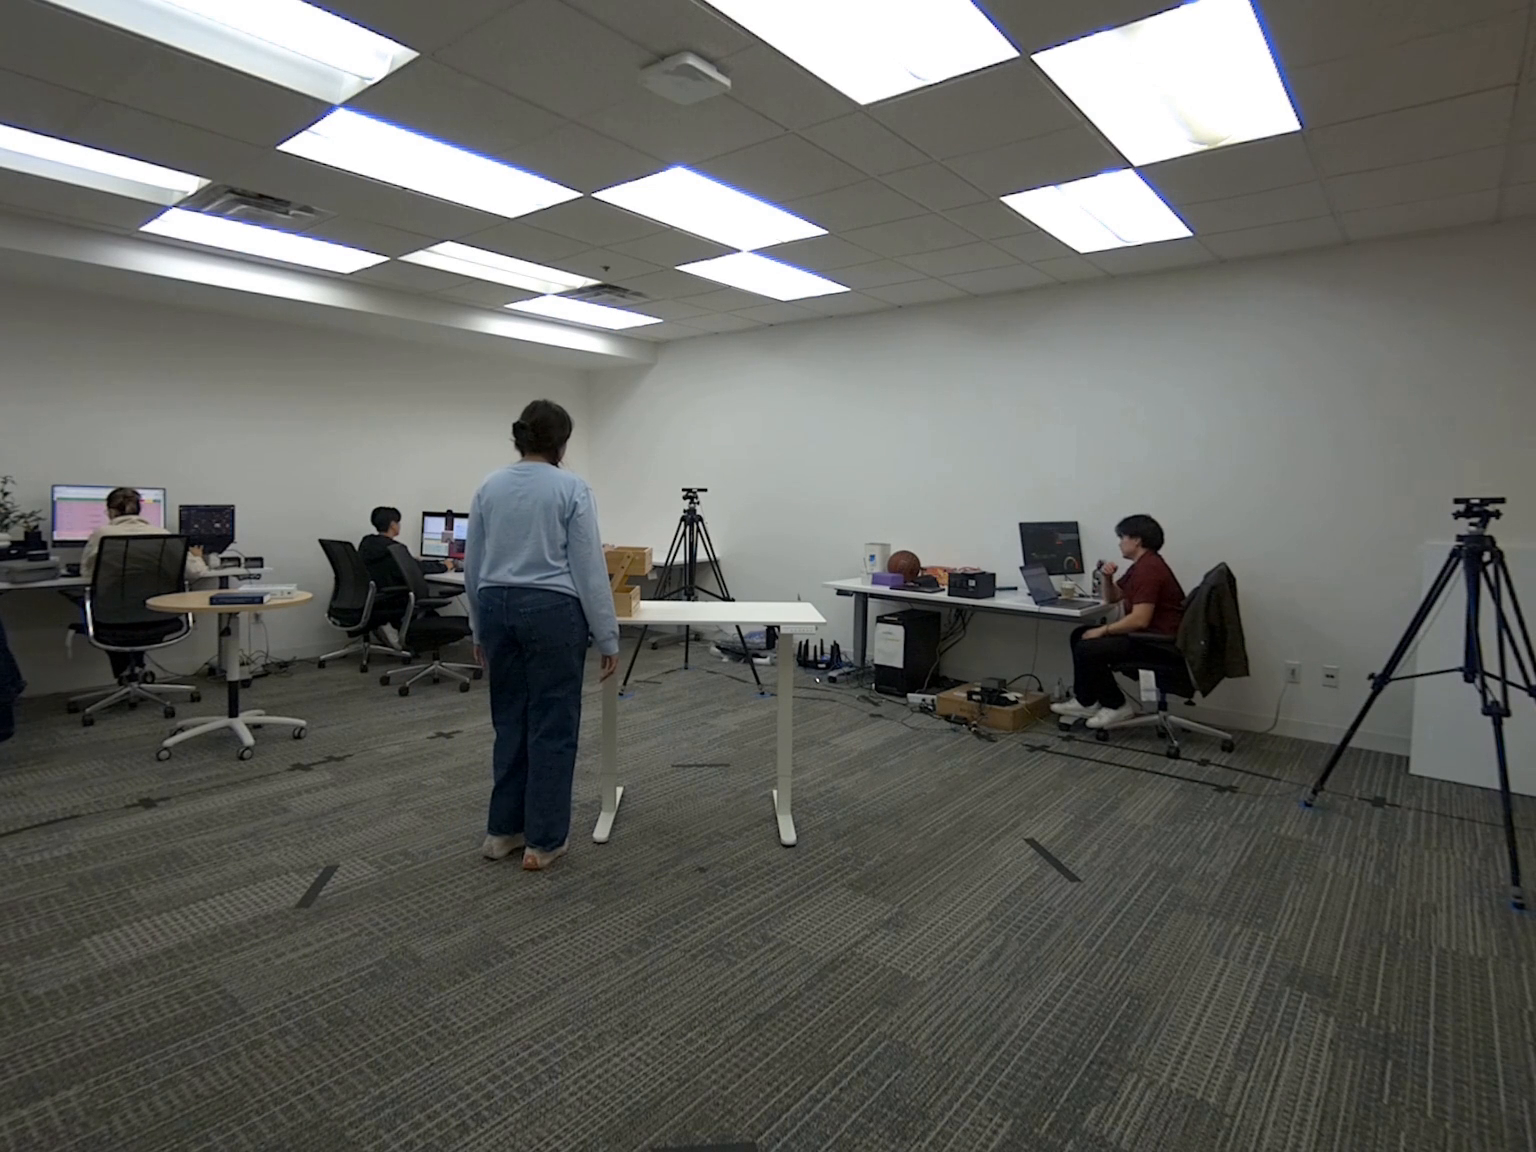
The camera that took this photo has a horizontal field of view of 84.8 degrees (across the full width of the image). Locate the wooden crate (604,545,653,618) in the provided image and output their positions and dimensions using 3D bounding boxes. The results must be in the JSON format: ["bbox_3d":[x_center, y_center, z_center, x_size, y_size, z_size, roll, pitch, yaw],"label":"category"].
[{"bbox_3d":[-0.661,0.012,3.511,0.302,0.272,0.326,2,5,-1],"label":"wooden crate"}]
